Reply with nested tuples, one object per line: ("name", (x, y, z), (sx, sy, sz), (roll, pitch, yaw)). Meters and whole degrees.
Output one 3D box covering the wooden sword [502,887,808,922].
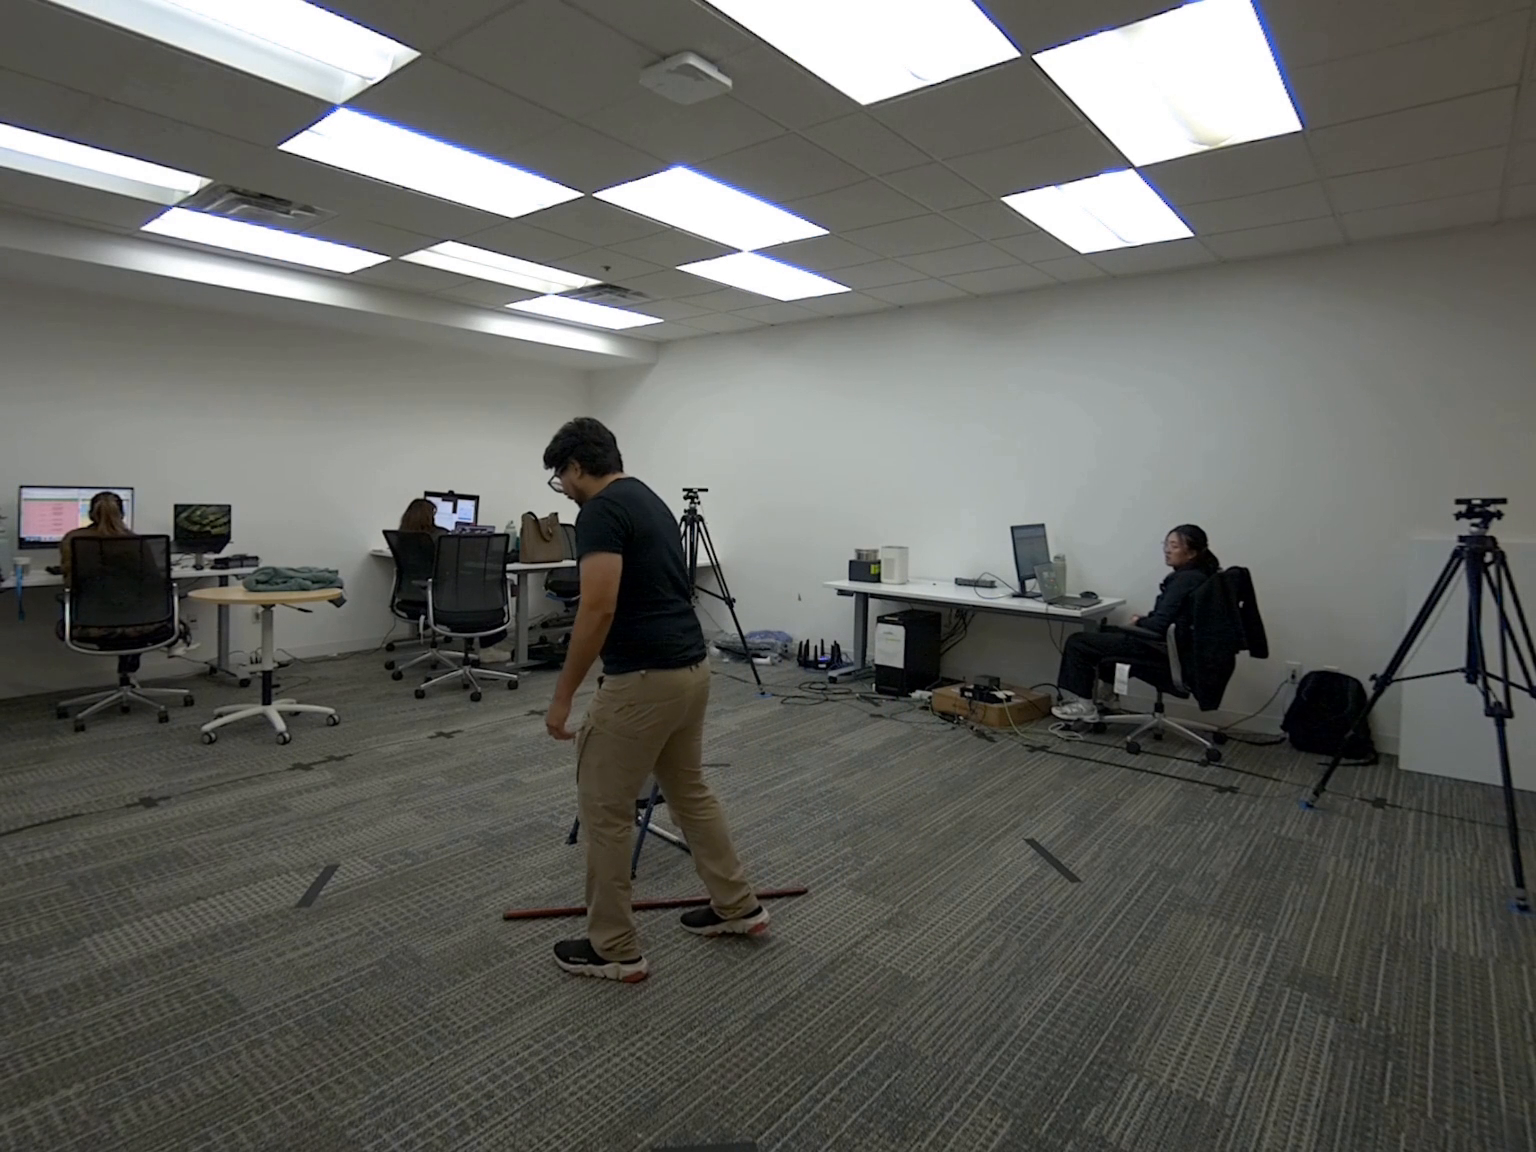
("wooden sword", (-0.355, 1.073, 2.829), (1.012, 0.024, 0.052), (0, 6, -12))
